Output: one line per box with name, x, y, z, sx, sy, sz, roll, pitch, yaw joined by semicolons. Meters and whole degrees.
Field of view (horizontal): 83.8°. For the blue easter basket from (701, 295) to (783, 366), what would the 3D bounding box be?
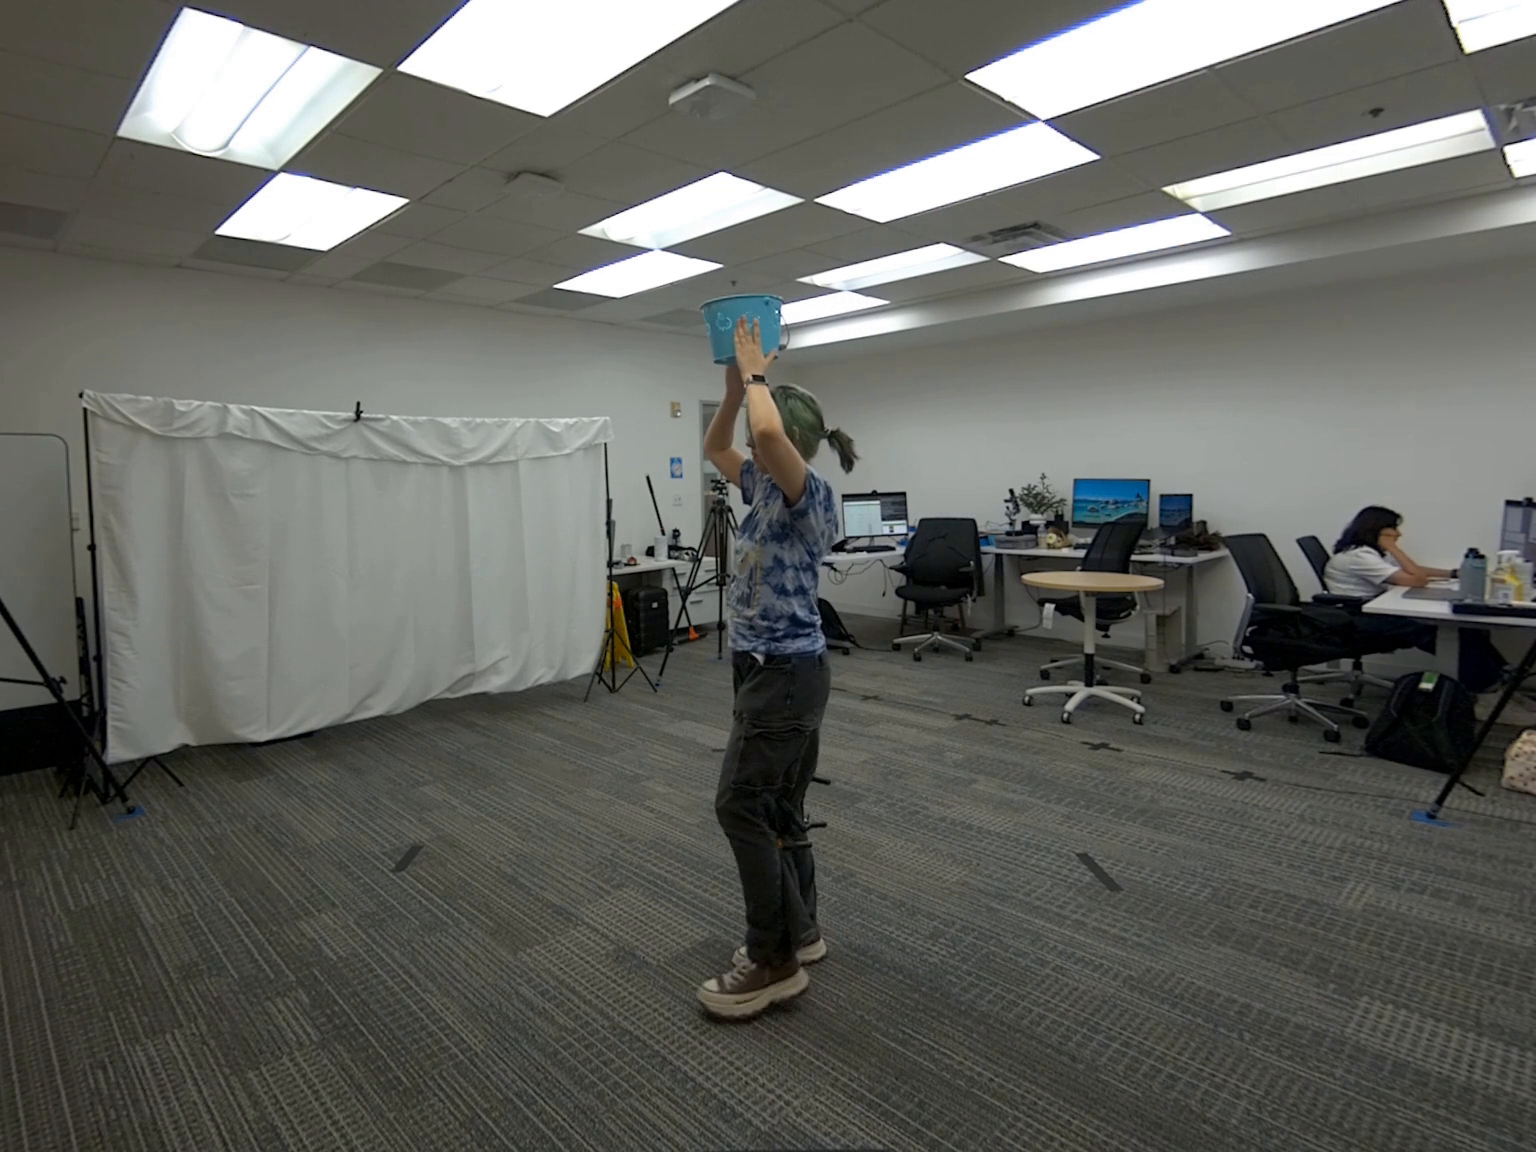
blue easter basket;-0.058;-0.672;2.335;0.243;0.155;0.245;-7;6;-1
